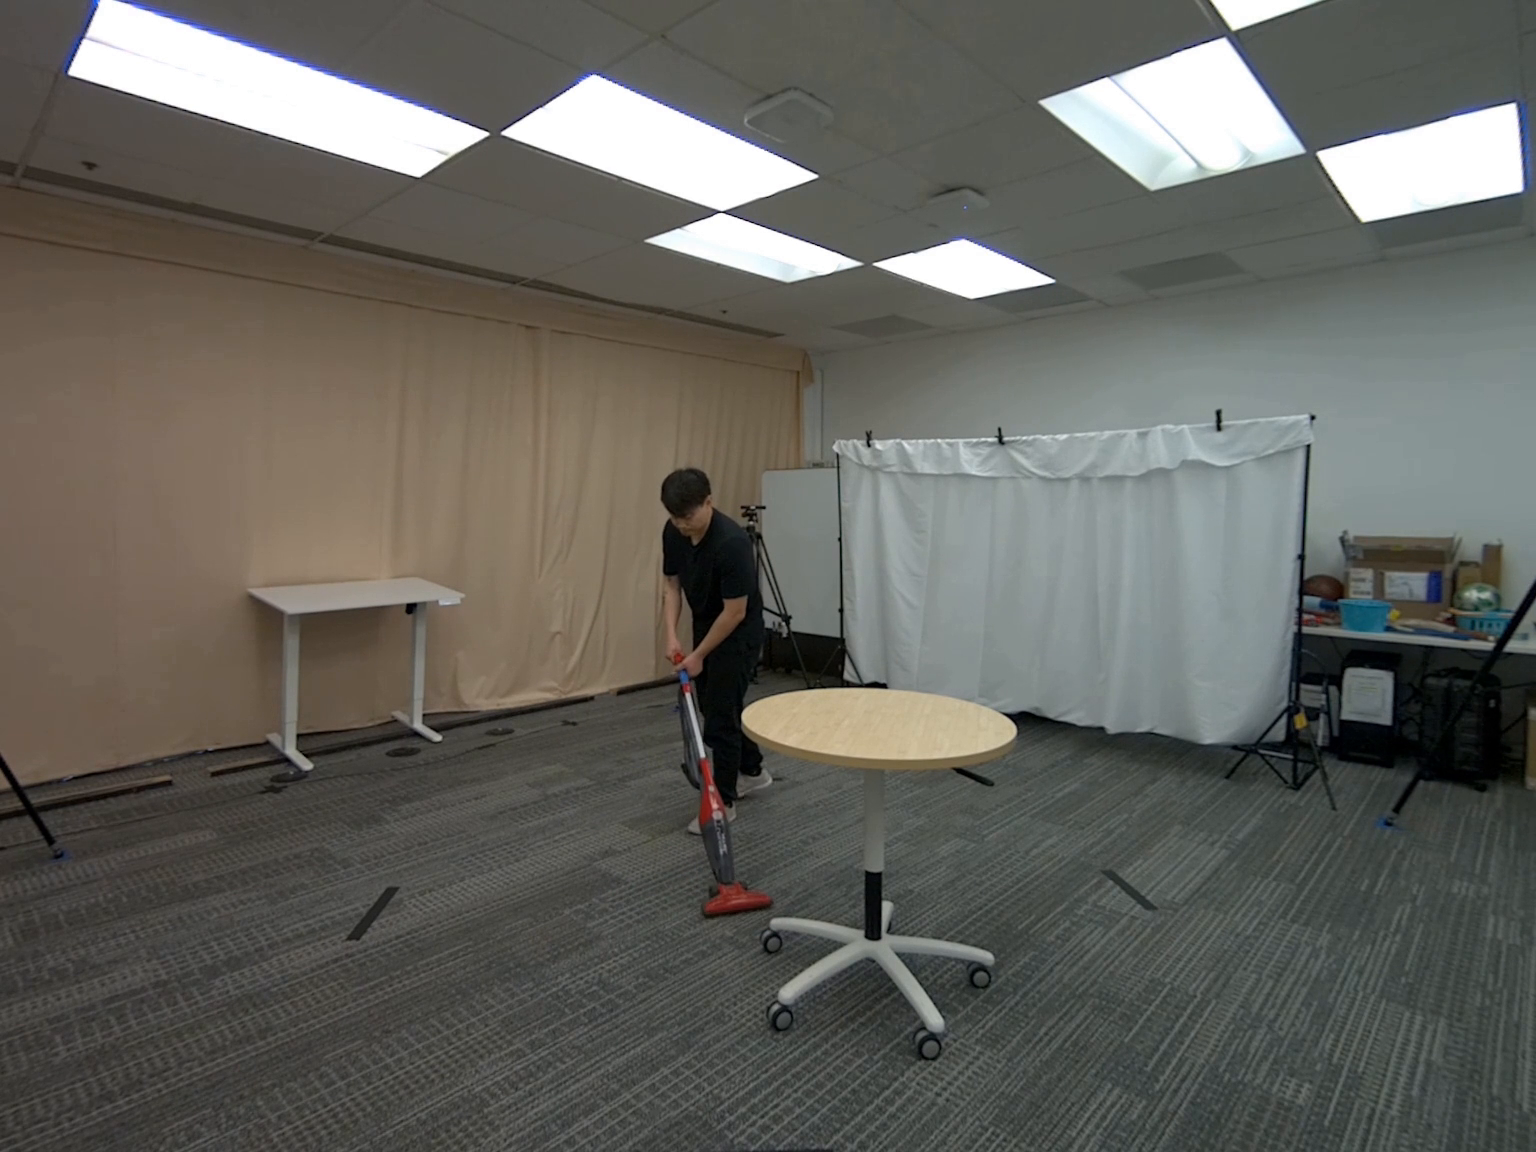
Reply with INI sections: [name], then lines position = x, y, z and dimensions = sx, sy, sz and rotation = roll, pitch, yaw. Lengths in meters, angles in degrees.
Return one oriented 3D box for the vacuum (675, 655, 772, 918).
[vacuum]
position = -0.253, 0.736, 3.261
dimensions = 0.248, 1.078, 0.143
rotation = -3, -41, -20
